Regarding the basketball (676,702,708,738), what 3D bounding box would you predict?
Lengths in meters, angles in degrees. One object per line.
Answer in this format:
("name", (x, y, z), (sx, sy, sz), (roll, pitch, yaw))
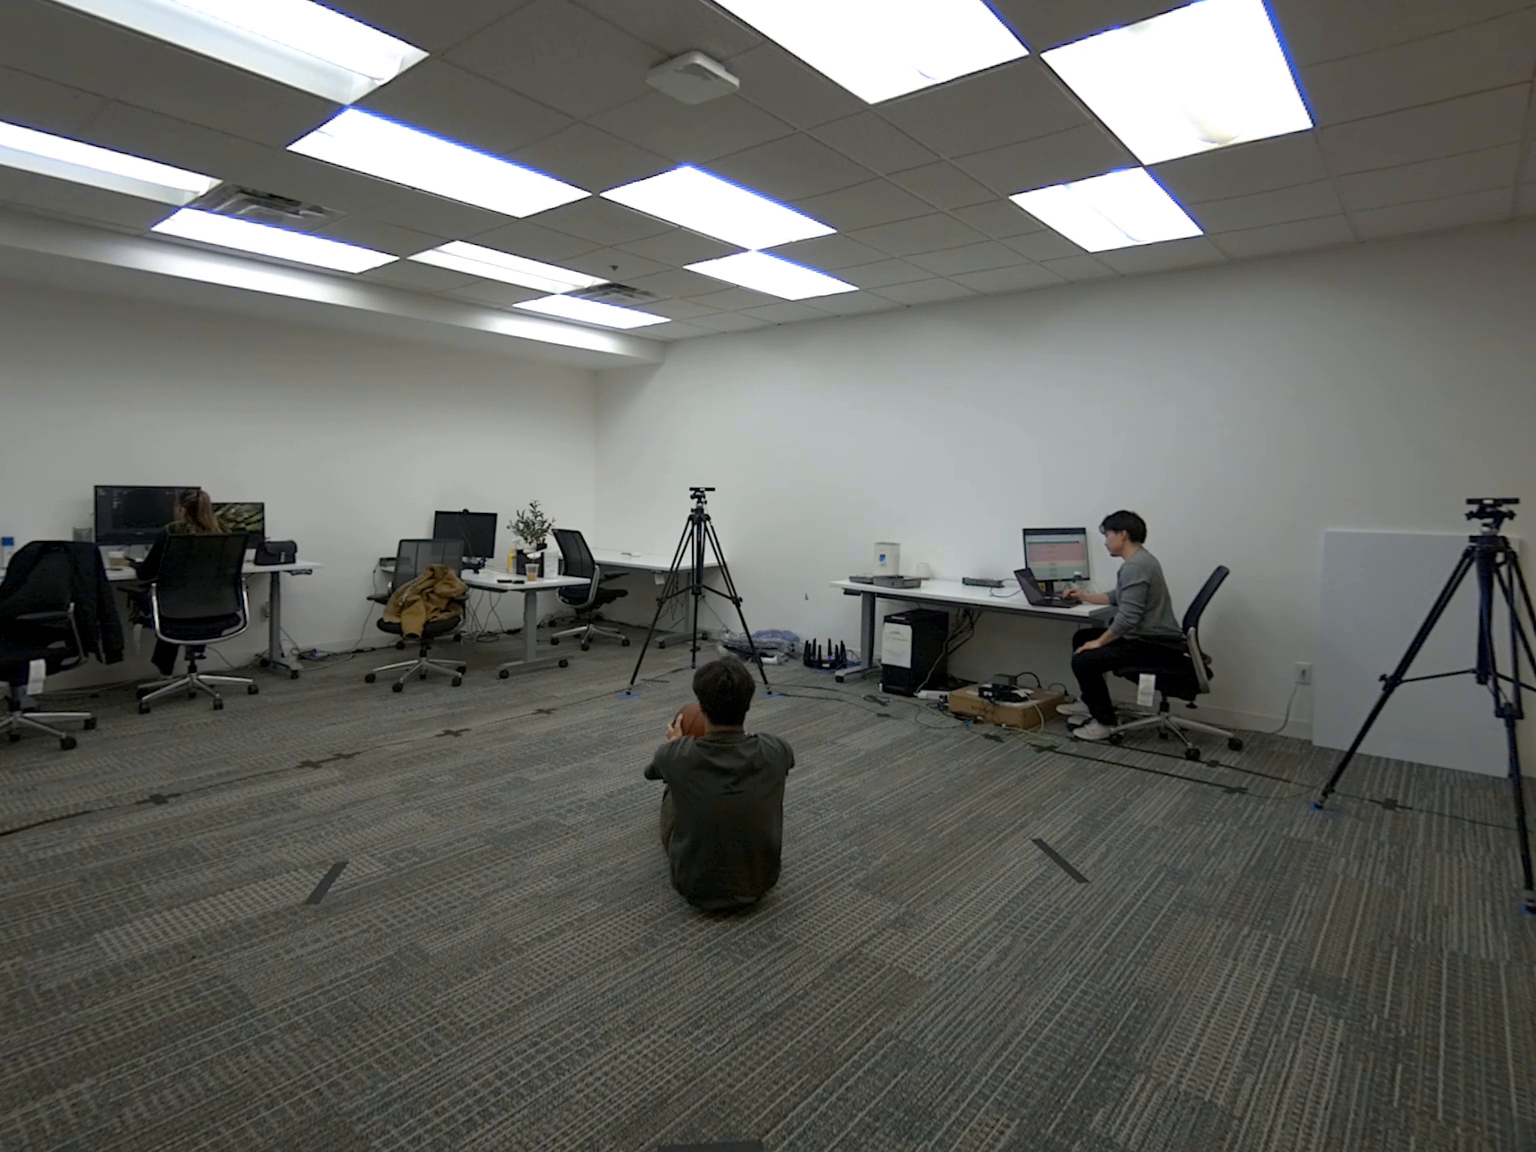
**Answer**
("basketball", (-0.286, 0.628, 3.485), (0.235, 0.235, 0.237), (1, 4, -2))
